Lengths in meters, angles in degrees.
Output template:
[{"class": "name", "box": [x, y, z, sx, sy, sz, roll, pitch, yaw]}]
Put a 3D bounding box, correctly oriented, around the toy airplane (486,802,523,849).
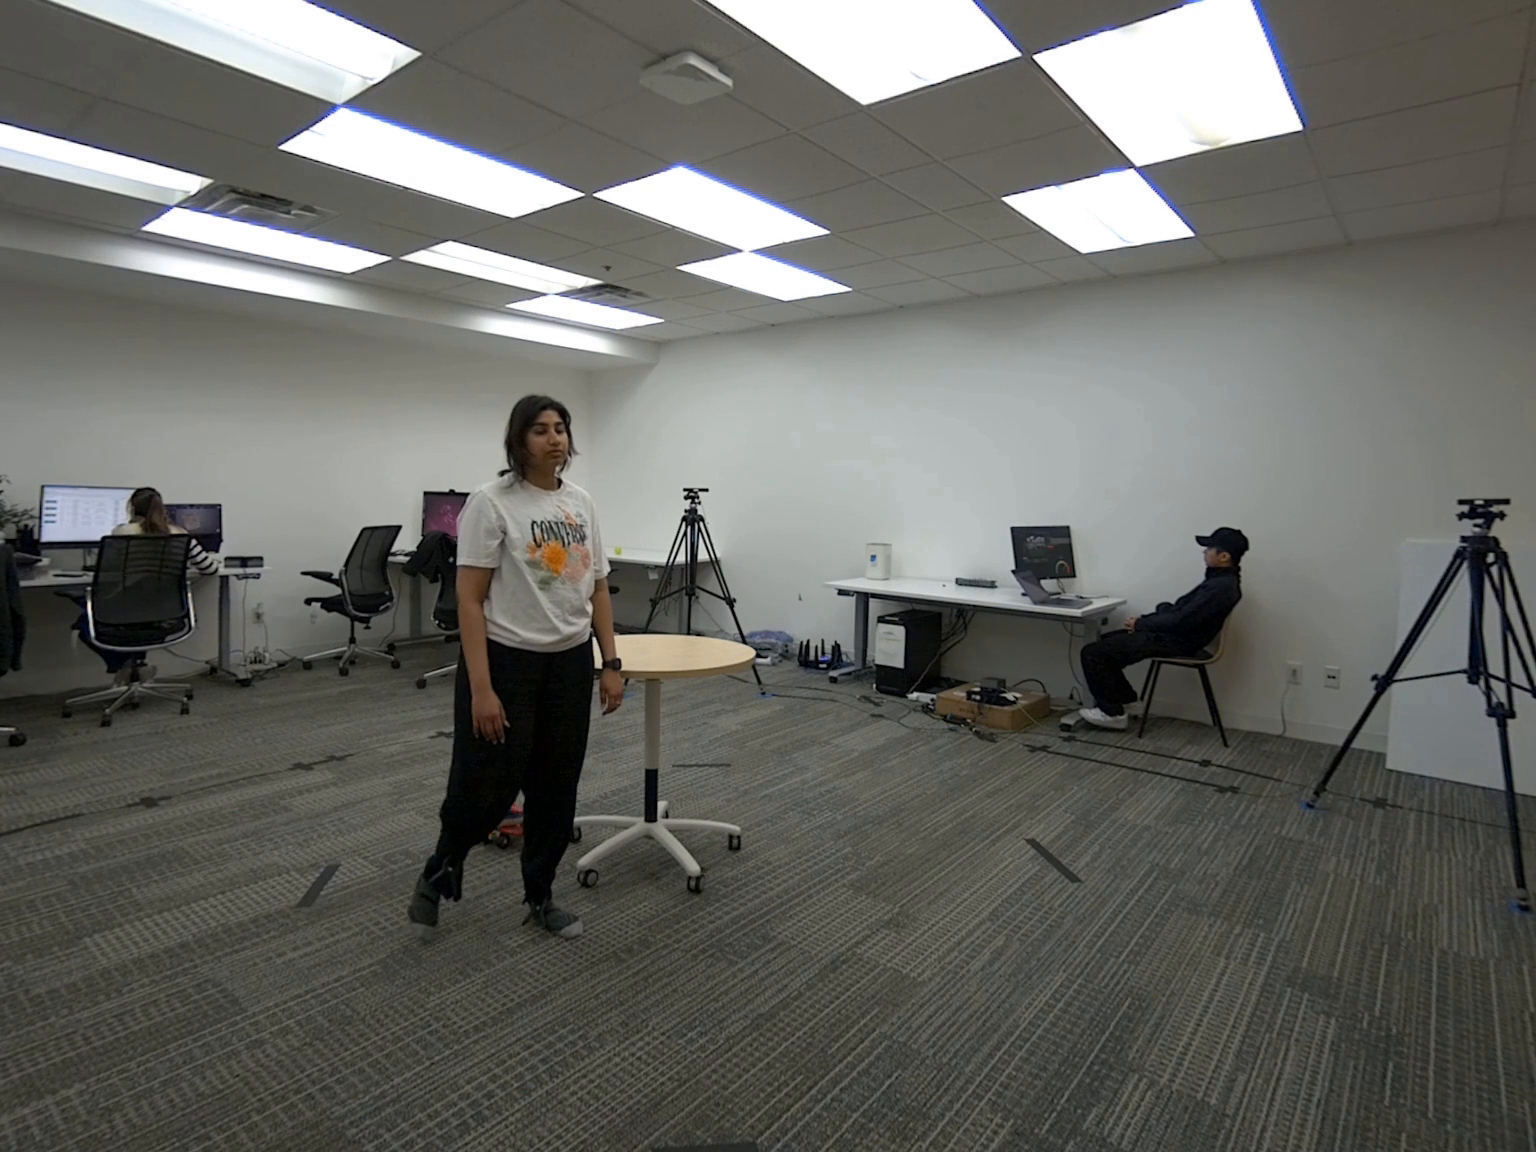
[{"class": "toy airplane", "box": [-1.042, 0.952, 3.360, 0.252, 0.156, 0.260, 0, 5, 1]}]
